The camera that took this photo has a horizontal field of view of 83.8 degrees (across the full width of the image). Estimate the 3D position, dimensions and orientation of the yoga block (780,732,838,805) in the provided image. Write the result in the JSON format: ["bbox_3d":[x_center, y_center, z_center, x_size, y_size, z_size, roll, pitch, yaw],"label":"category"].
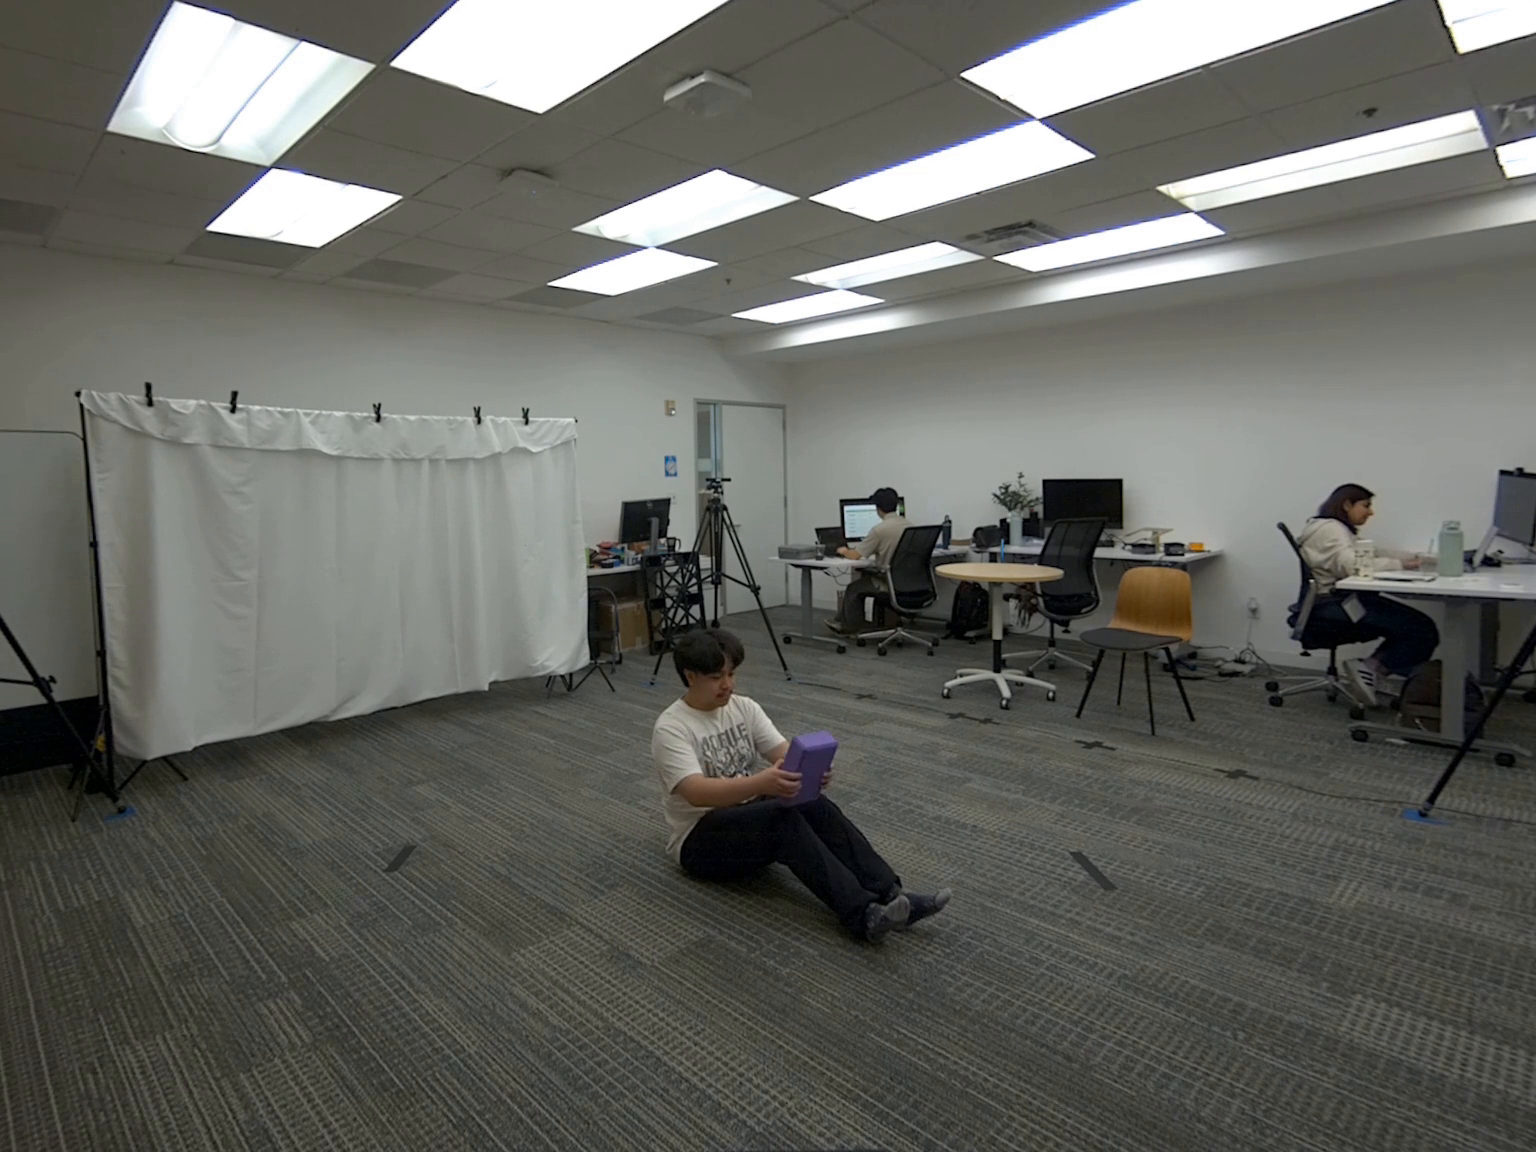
[{"bbox_3d":[0.118,0.615,2.715,0.145,0.226,0.079,2,25,-34],"label":"yoga block"}]
